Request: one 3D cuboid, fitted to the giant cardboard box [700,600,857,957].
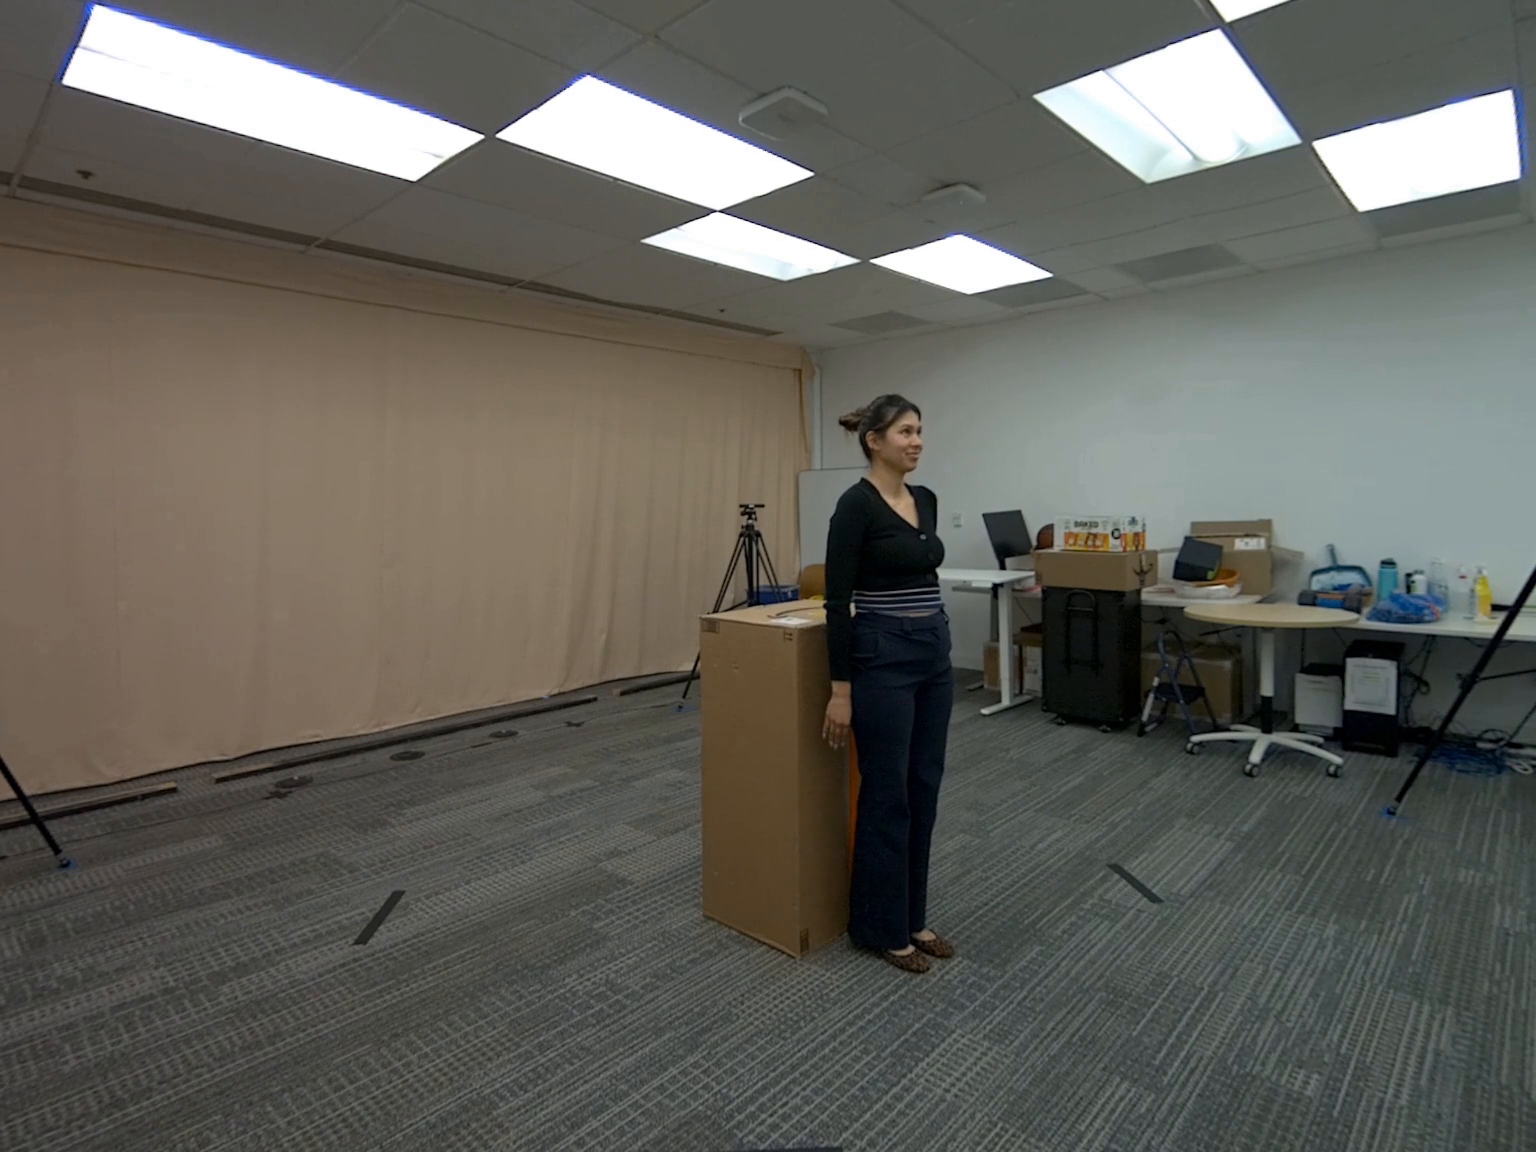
[{"bbox_3d":[0.118,0.636,2.892,0.440,1.024,0.560,2,4,43],"label":"giant cardboard box"}]
